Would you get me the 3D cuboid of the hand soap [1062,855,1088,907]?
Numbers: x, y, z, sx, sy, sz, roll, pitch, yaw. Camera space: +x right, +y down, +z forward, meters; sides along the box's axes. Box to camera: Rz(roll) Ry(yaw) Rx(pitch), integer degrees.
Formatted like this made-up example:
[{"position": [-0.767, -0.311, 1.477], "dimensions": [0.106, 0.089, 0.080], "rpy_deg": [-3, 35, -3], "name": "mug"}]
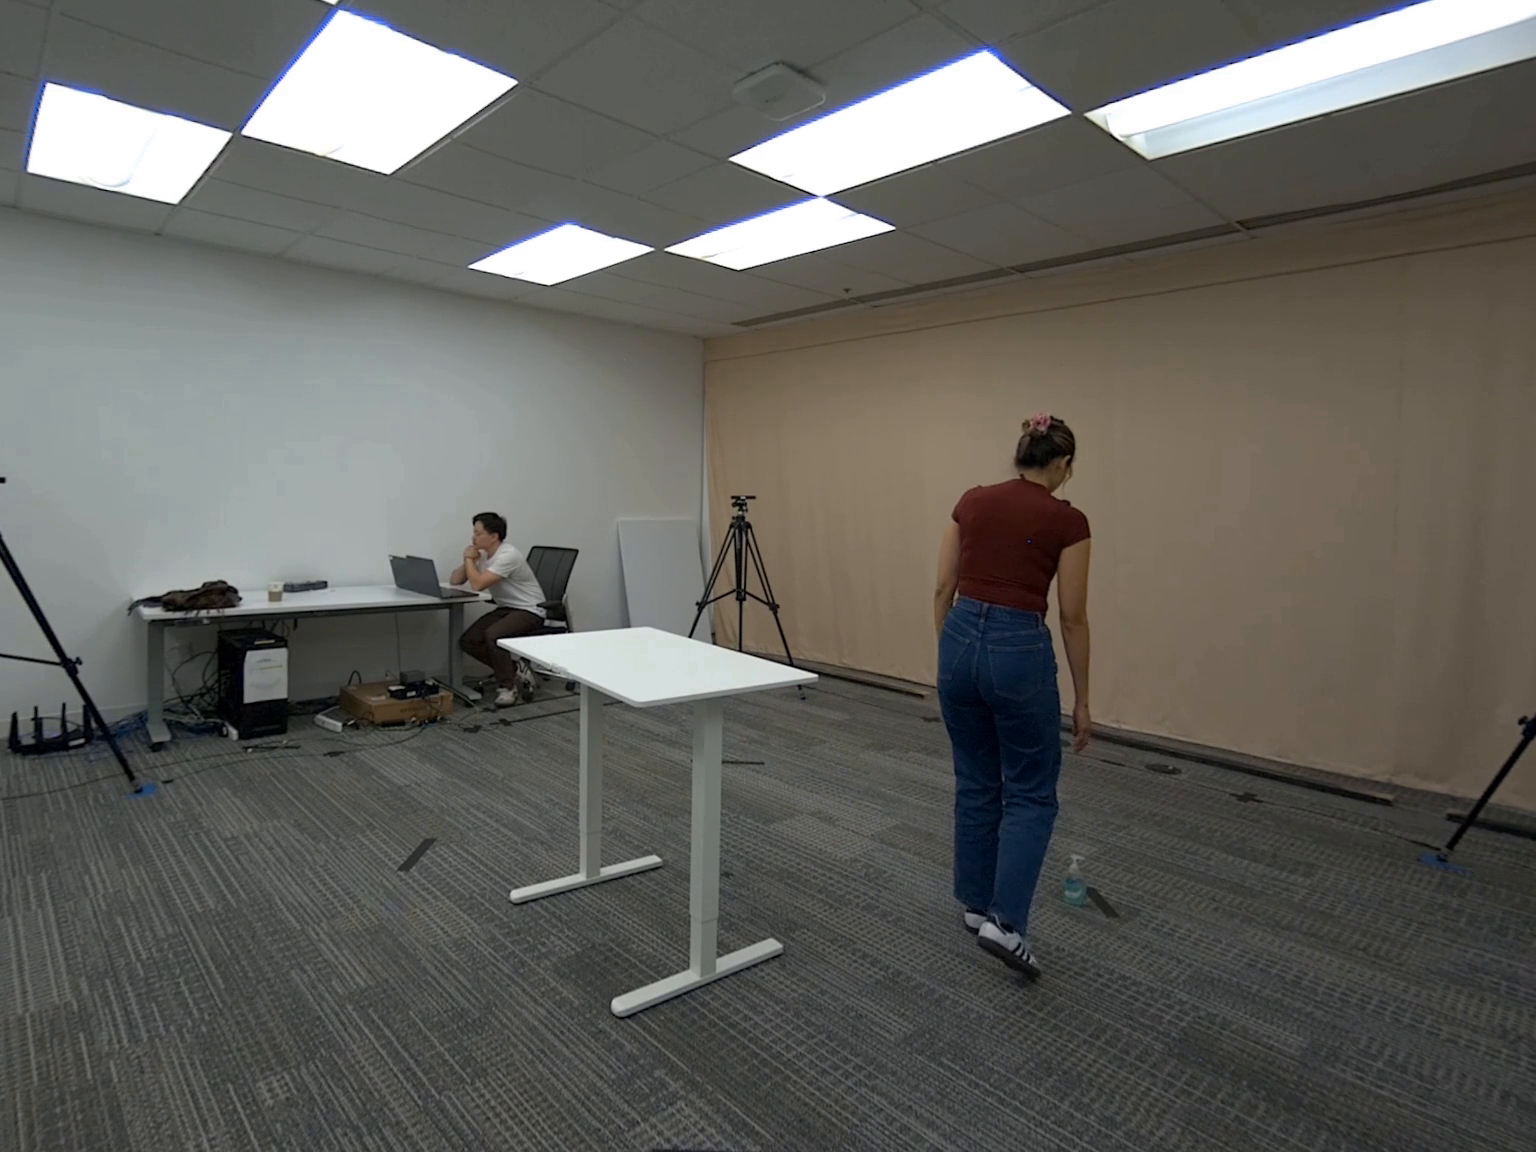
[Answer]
[{"position": [1.069, 1.067, 2.955], "dimensions": [0.086, 0.168, 0.042], "rpy_deg": [4, -1, 27], "name": "hand soap"}]
